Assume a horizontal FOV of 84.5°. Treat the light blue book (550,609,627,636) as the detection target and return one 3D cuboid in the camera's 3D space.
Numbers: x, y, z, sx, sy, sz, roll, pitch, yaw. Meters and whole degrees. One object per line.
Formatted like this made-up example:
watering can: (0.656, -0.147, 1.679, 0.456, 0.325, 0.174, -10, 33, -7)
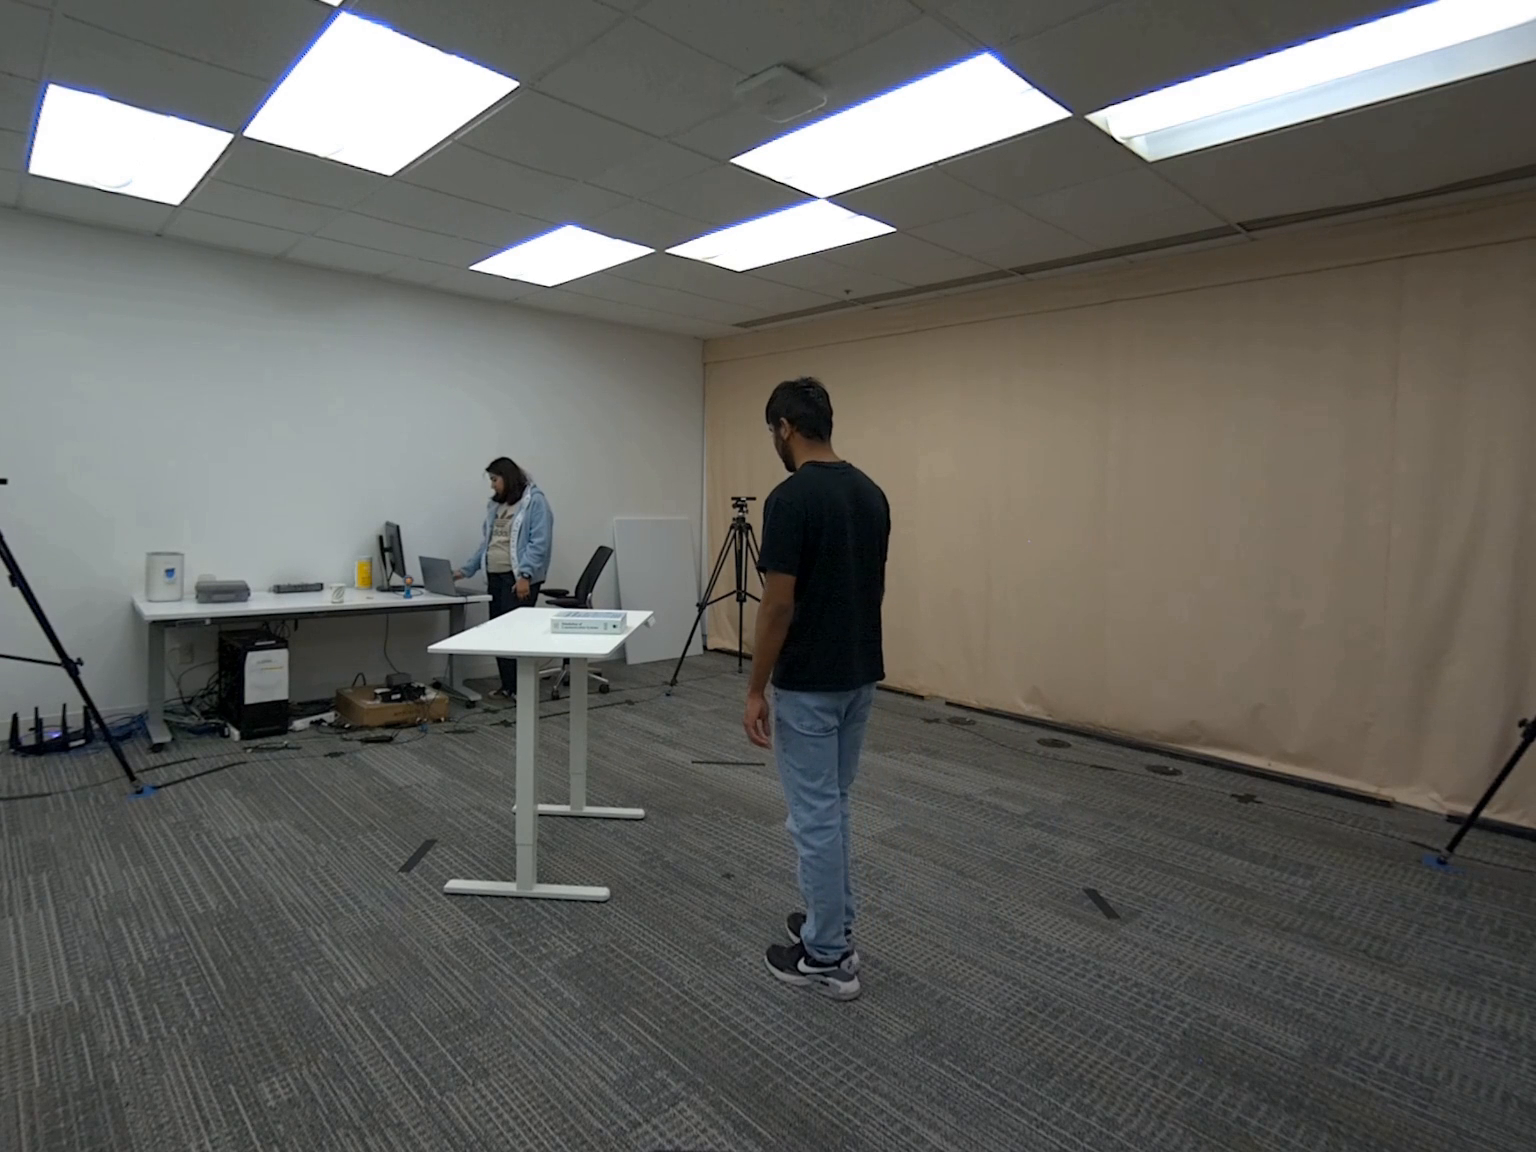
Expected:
light blue book: (-0.676, 0.175, 3.193, 0.261, 0.059, 0.192, 1, 6, 0)
